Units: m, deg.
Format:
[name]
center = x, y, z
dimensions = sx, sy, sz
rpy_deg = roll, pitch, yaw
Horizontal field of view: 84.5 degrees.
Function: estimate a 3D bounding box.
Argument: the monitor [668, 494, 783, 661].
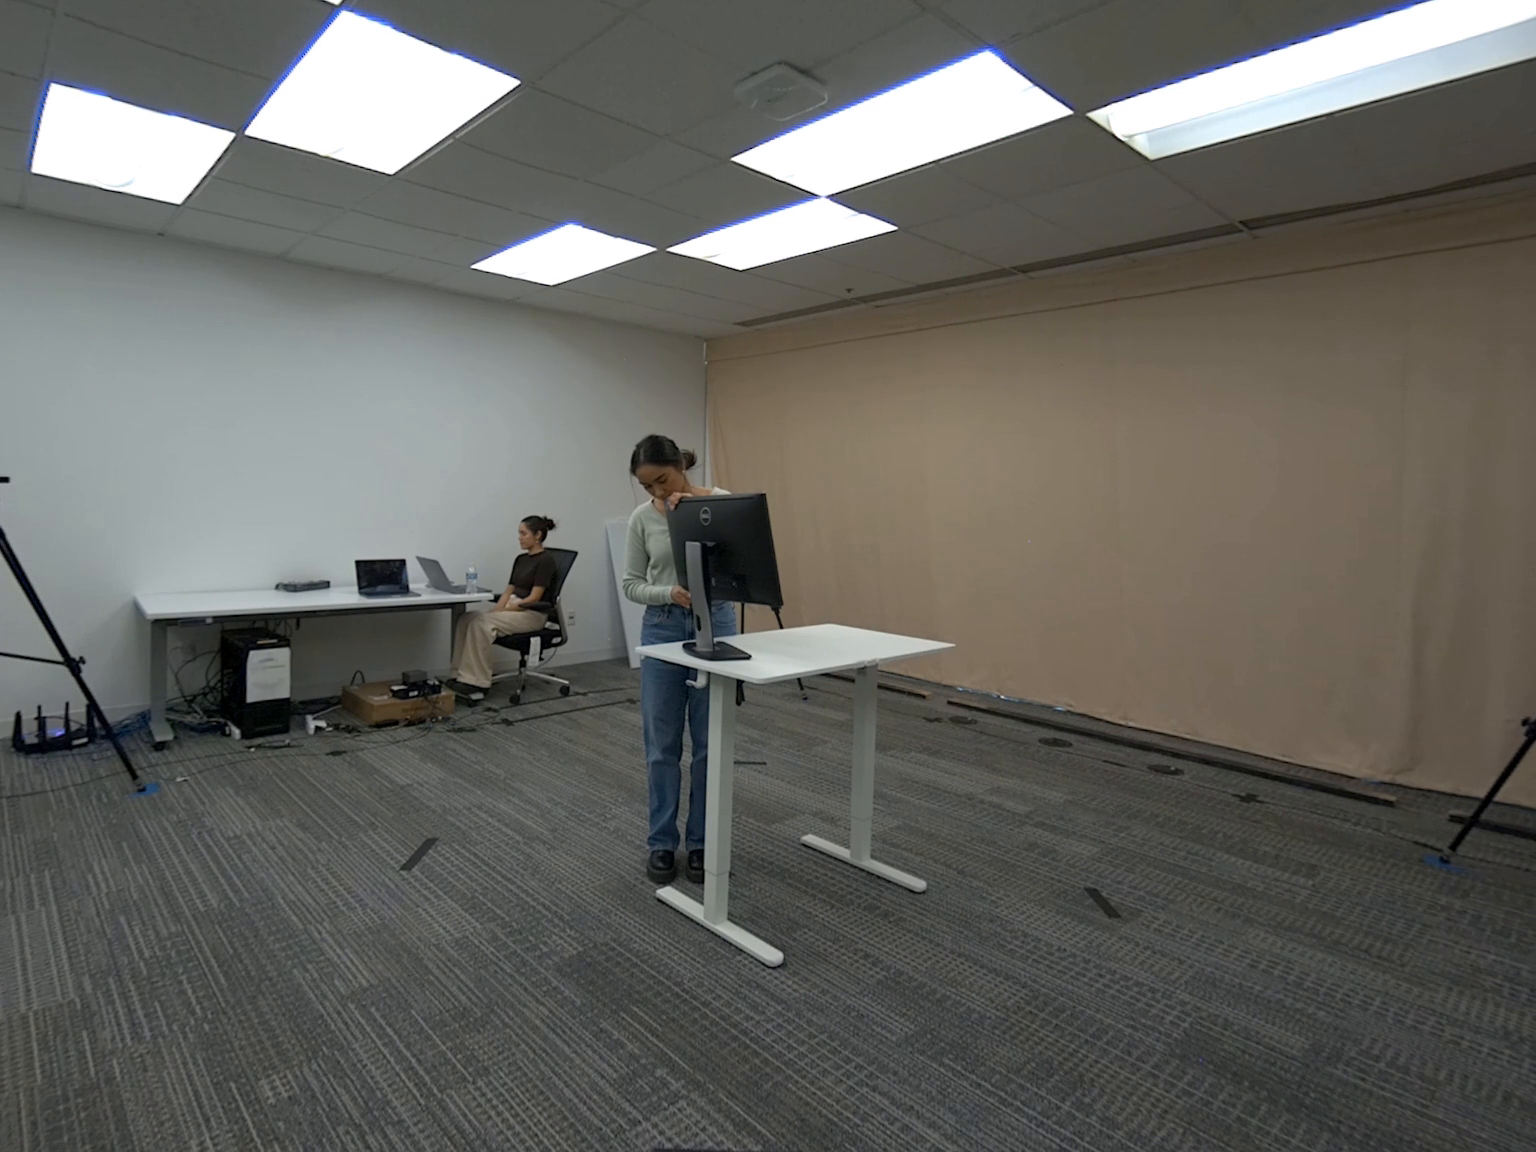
[monitor]
center = -0.195, 0.001, 2.720
dimensions = 0.183, 0.522, 0.552
rpy_deg = -1, 3, -40
